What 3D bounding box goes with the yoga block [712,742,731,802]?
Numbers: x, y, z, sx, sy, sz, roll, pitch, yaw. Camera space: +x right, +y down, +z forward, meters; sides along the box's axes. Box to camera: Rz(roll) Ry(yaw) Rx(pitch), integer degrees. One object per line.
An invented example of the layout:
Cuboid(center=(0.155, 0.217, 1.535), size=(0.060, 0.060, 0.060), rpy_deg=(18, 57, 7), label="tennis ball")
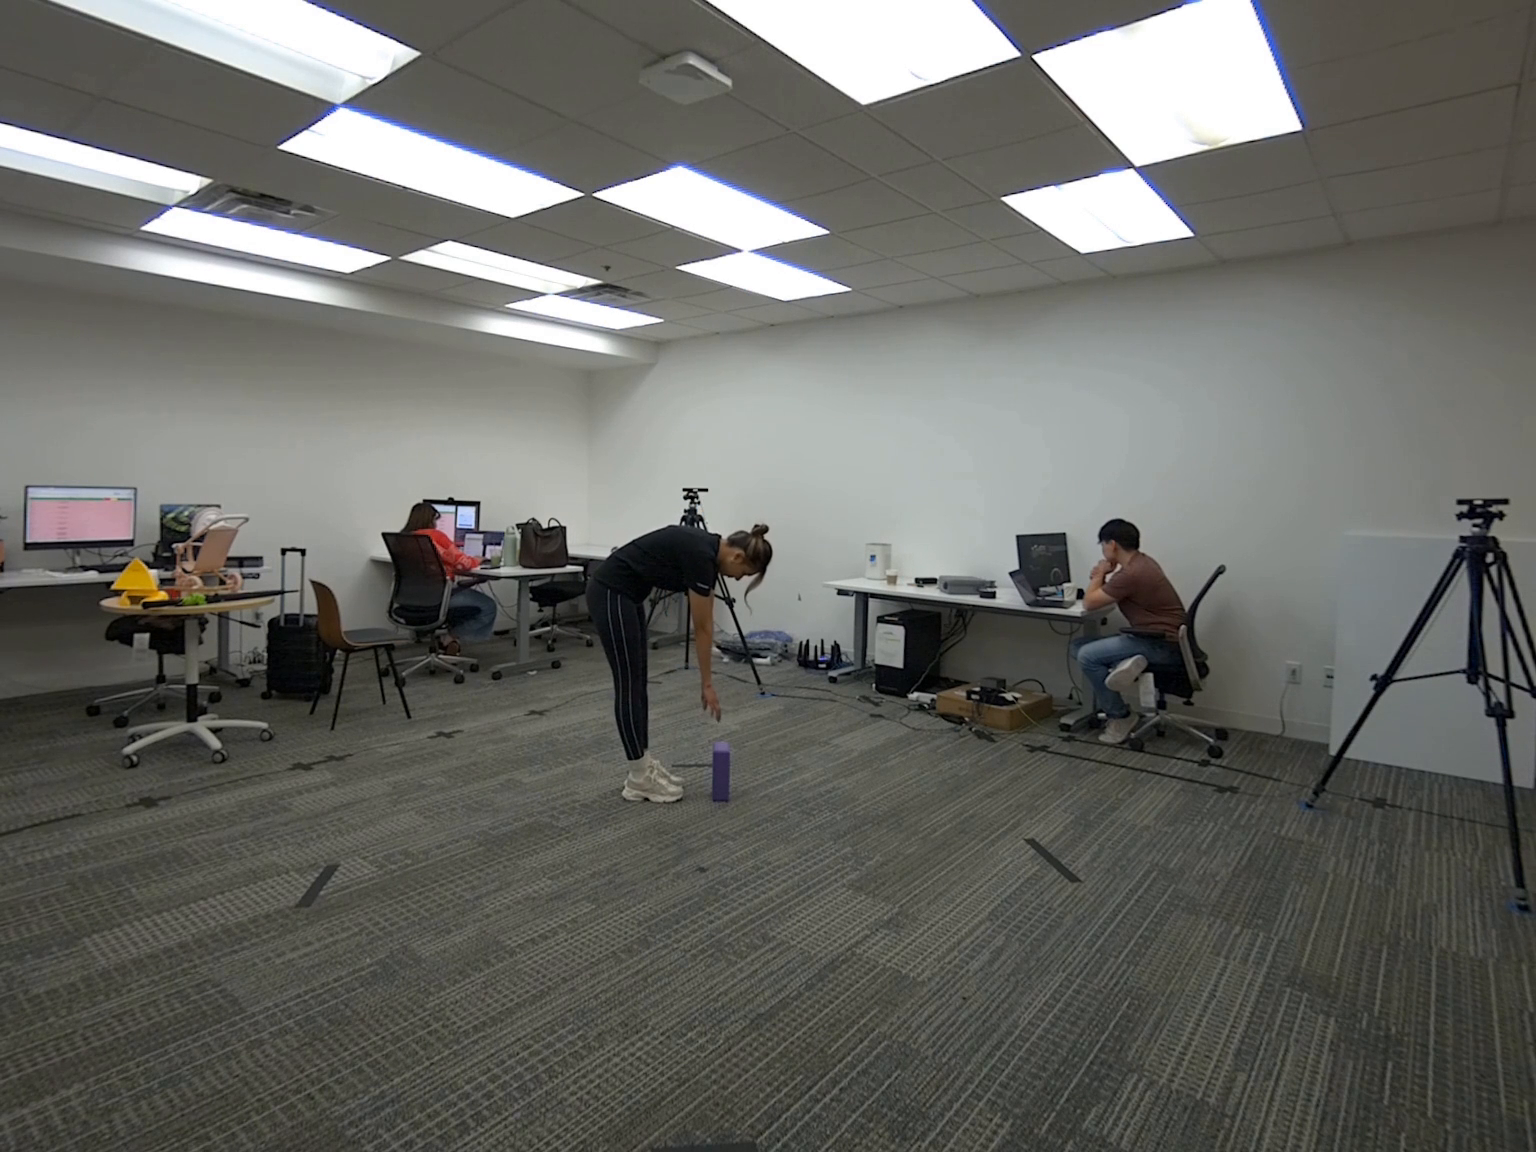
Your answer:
Cuboid(center=(-0.221, 0.880, 3.857), size=(0.076, 0.228, 0.150), rpy_deg=(1, 4, -4), label="yoga block")
